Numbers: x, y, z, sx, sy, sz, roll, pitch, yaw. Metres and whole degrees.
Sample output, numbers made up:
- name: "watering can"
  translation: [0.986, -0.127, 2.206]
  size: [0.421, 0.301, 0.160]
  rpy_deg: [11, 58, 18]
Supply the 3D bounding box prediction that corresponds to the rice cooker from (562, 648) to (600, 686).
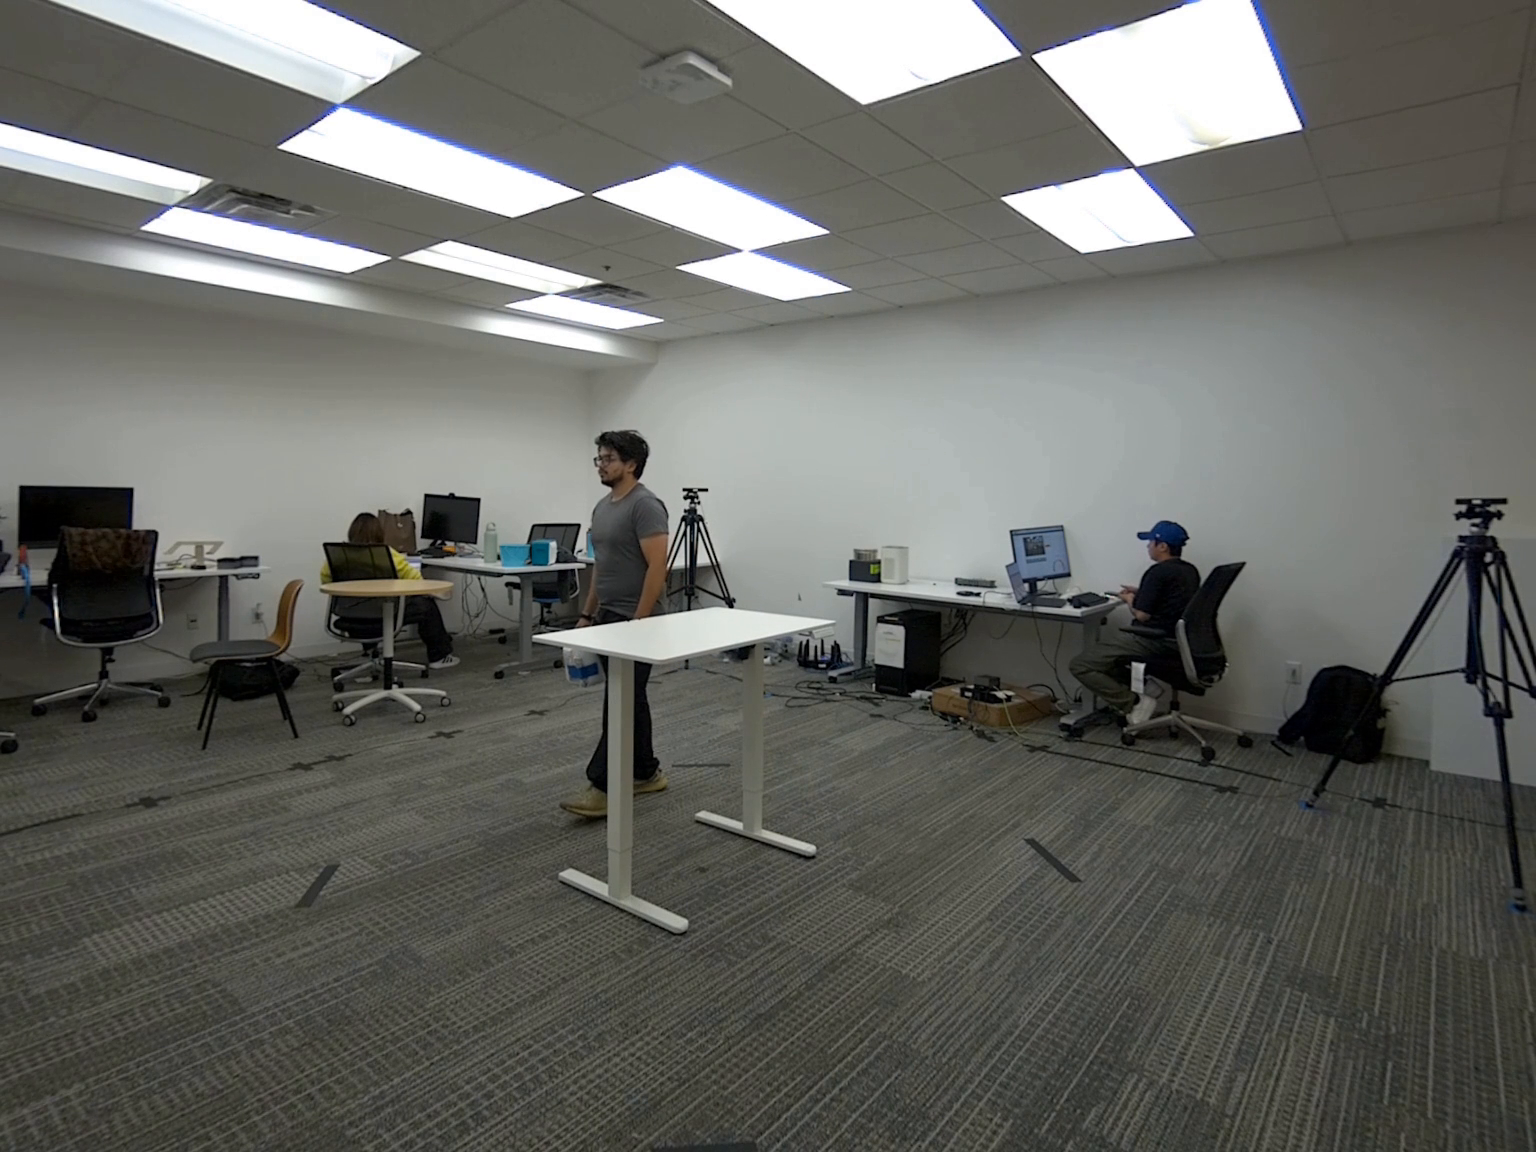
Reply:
- name: "rice cooker"
  translation: [-0.883, 0.385, 4.035]
  size: [0.215, 0.230, 0.225]
  rpy_deg: [-10, 13, -39]
